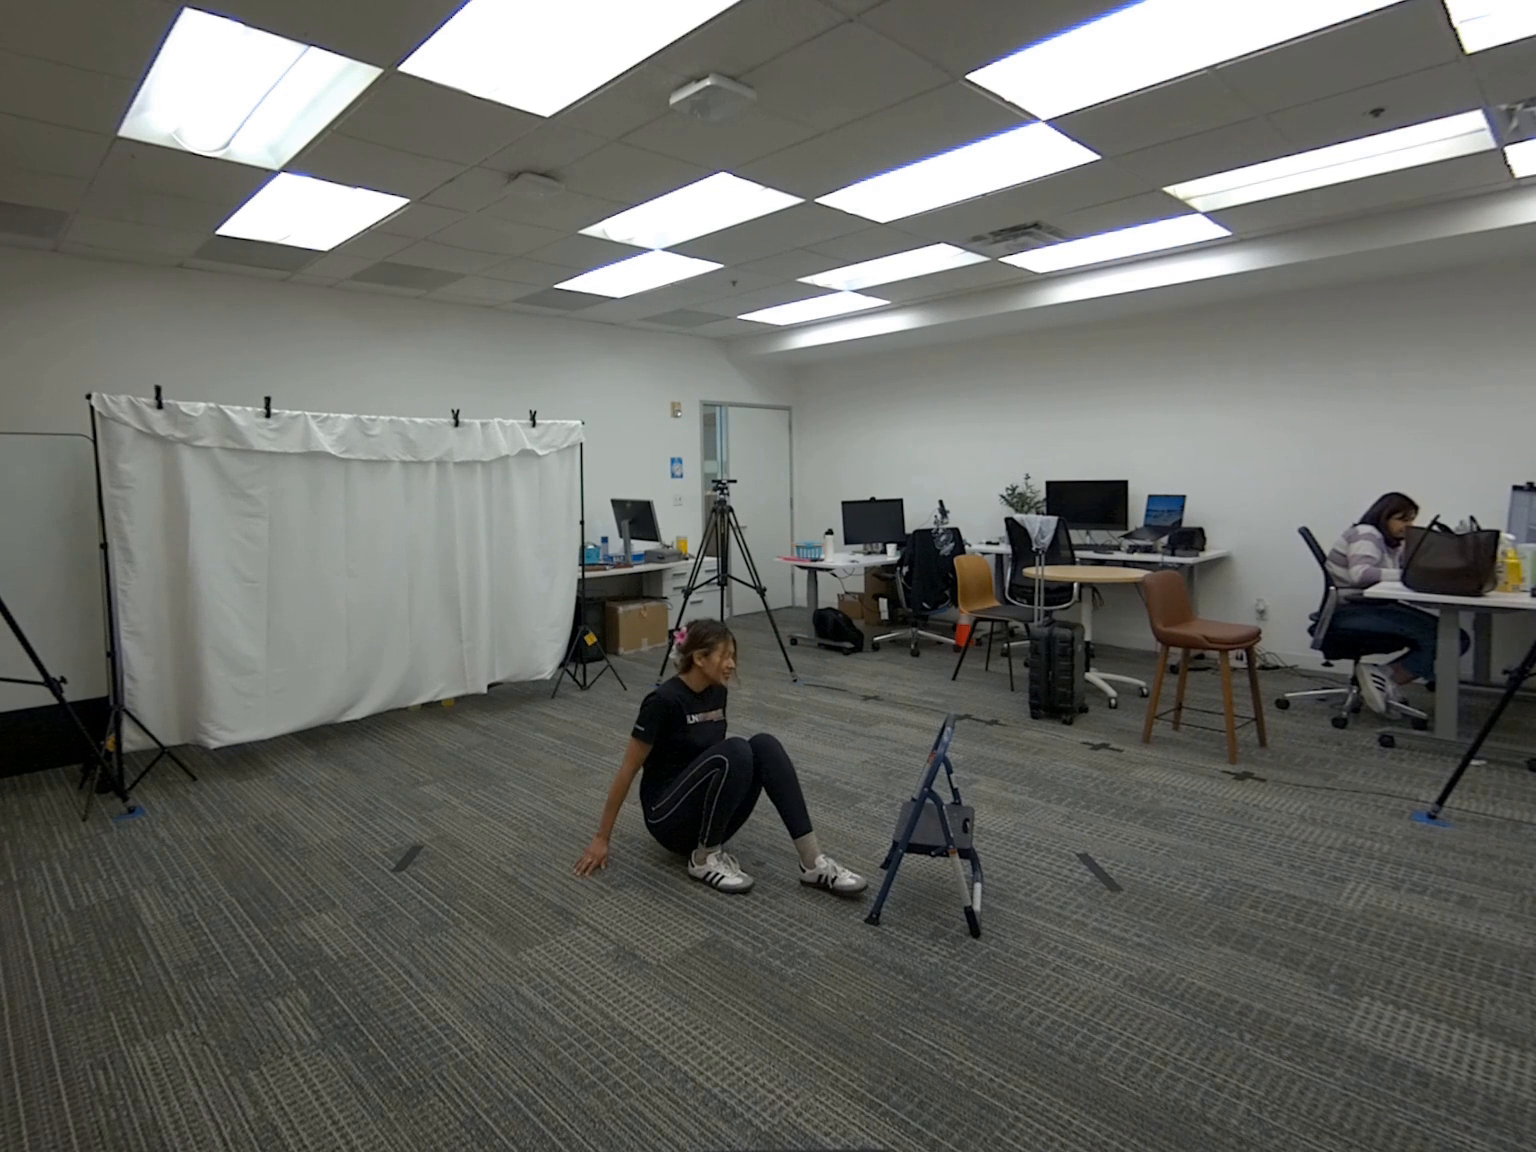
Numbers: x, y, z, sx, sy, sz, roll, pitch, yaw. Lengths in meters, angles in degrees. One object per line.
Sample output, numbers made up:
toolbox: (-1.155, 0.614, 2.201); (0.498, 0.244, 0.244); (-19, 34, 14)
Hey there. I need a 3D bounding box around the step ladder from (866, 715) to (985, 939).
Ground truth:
step ladder: (0.526, 0.768, 2.801); (0.355, 0.604, 0.426); (0, 4, 15)
